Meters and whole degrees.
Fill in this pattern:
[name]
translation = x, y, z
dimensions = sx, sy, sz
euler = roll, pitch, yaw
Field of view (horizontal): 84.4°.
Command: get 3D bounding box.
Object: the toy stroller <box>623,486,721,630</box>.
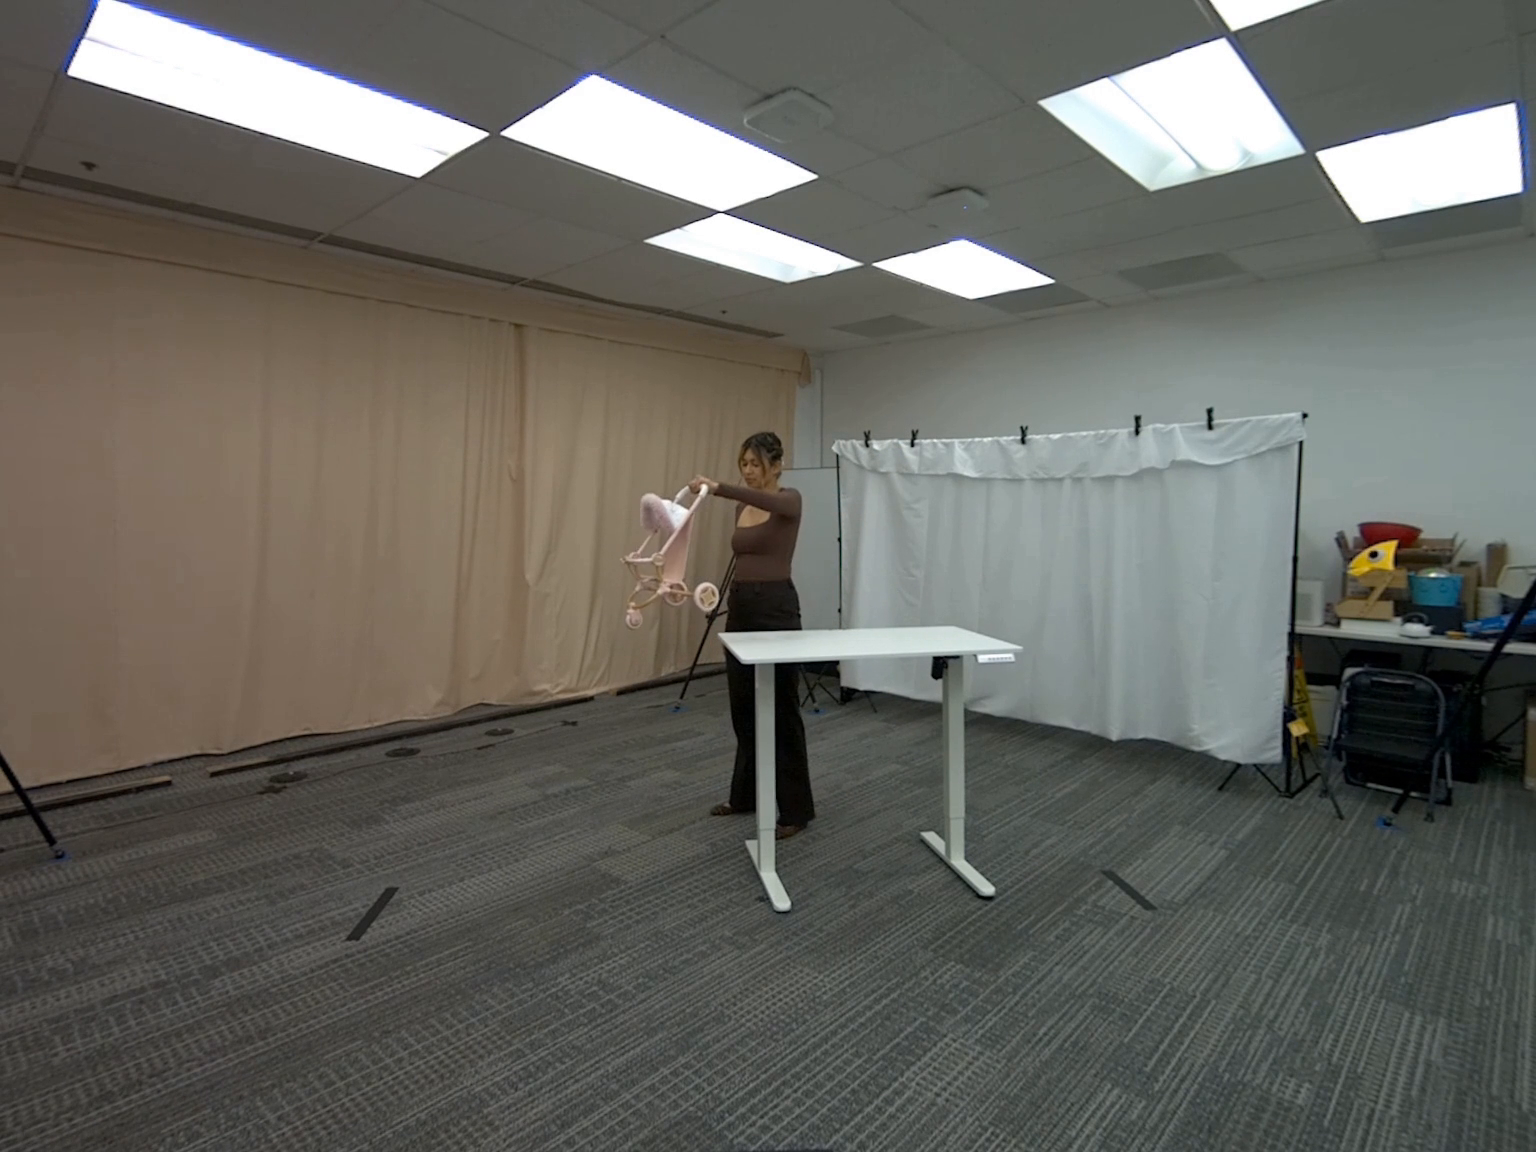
[toy stroller]
translation = -0.393, -0.068, 3.205
dimensions = 0.333, 0.533, 0.289
euler = -4, 4, -28
